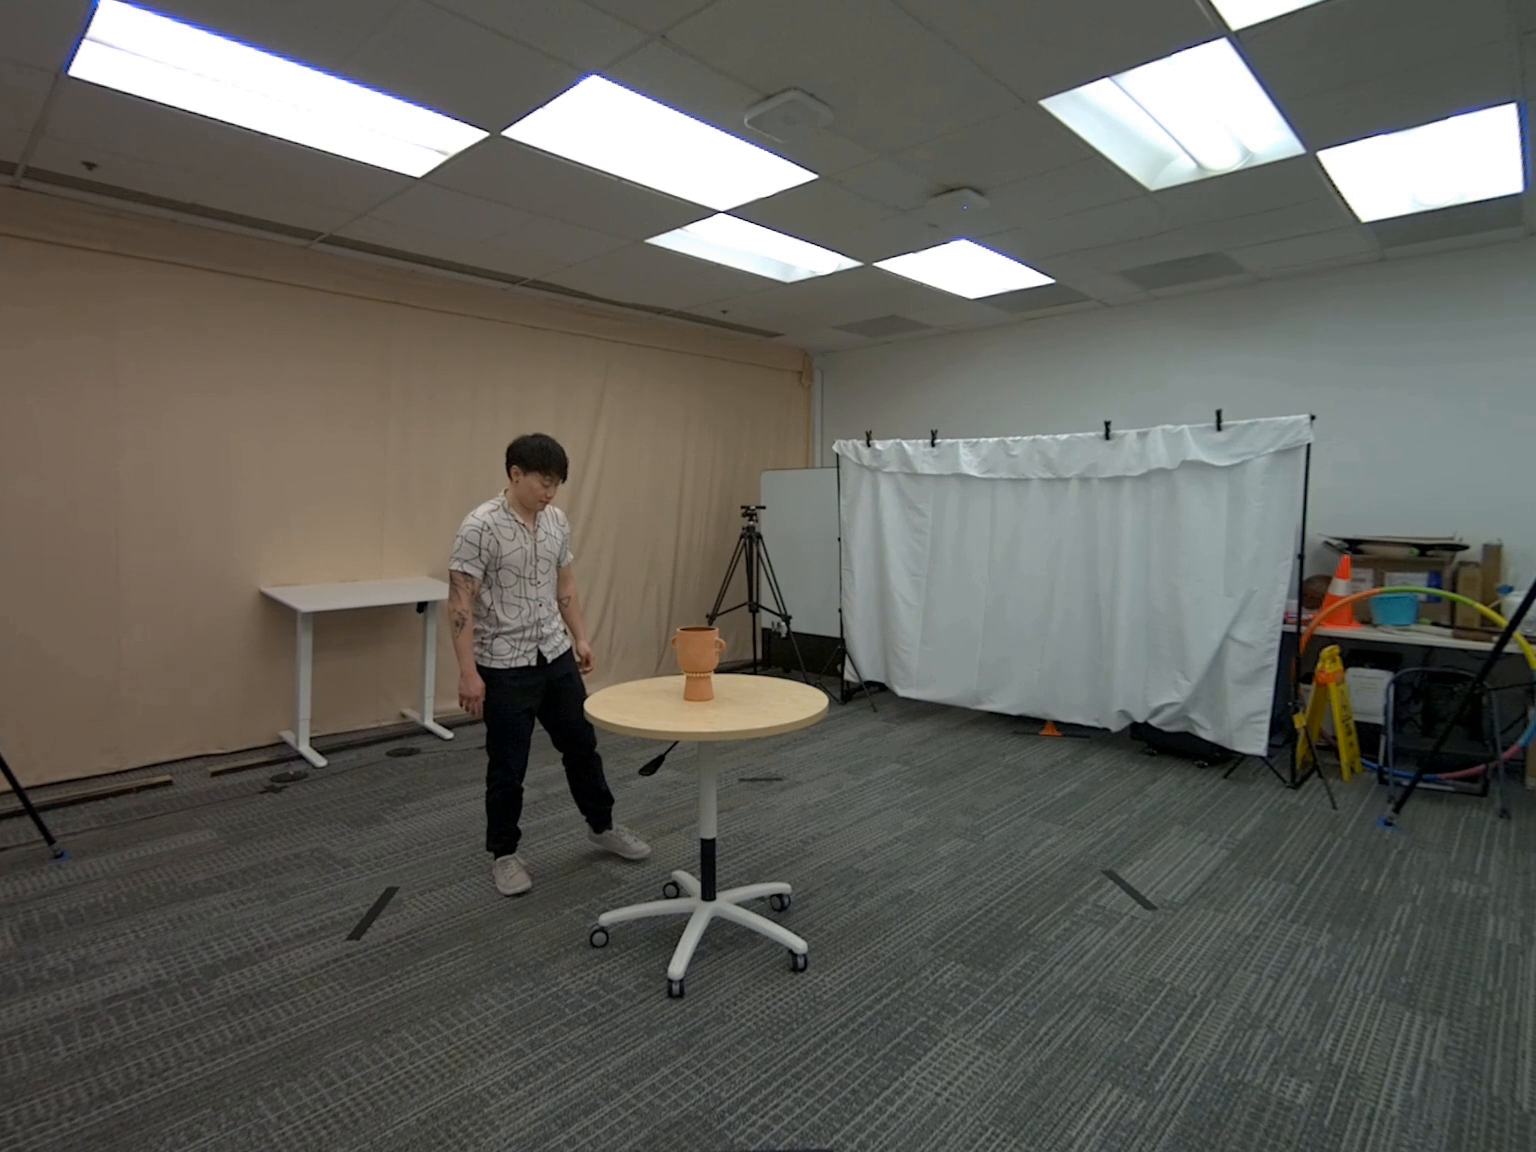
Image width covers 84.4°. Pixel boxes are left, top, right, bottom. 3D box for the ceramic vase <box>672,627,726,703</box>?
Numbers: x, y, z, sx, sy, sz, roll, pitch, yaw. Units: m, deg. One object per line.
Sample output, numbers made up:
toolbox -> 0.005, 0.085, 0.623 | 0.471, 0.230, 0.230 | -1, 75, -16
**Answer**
ceramic vase -> -0.220, 0.280, 2.657 | 0.131, 0.219, 0.163 | -3, 3, -24
